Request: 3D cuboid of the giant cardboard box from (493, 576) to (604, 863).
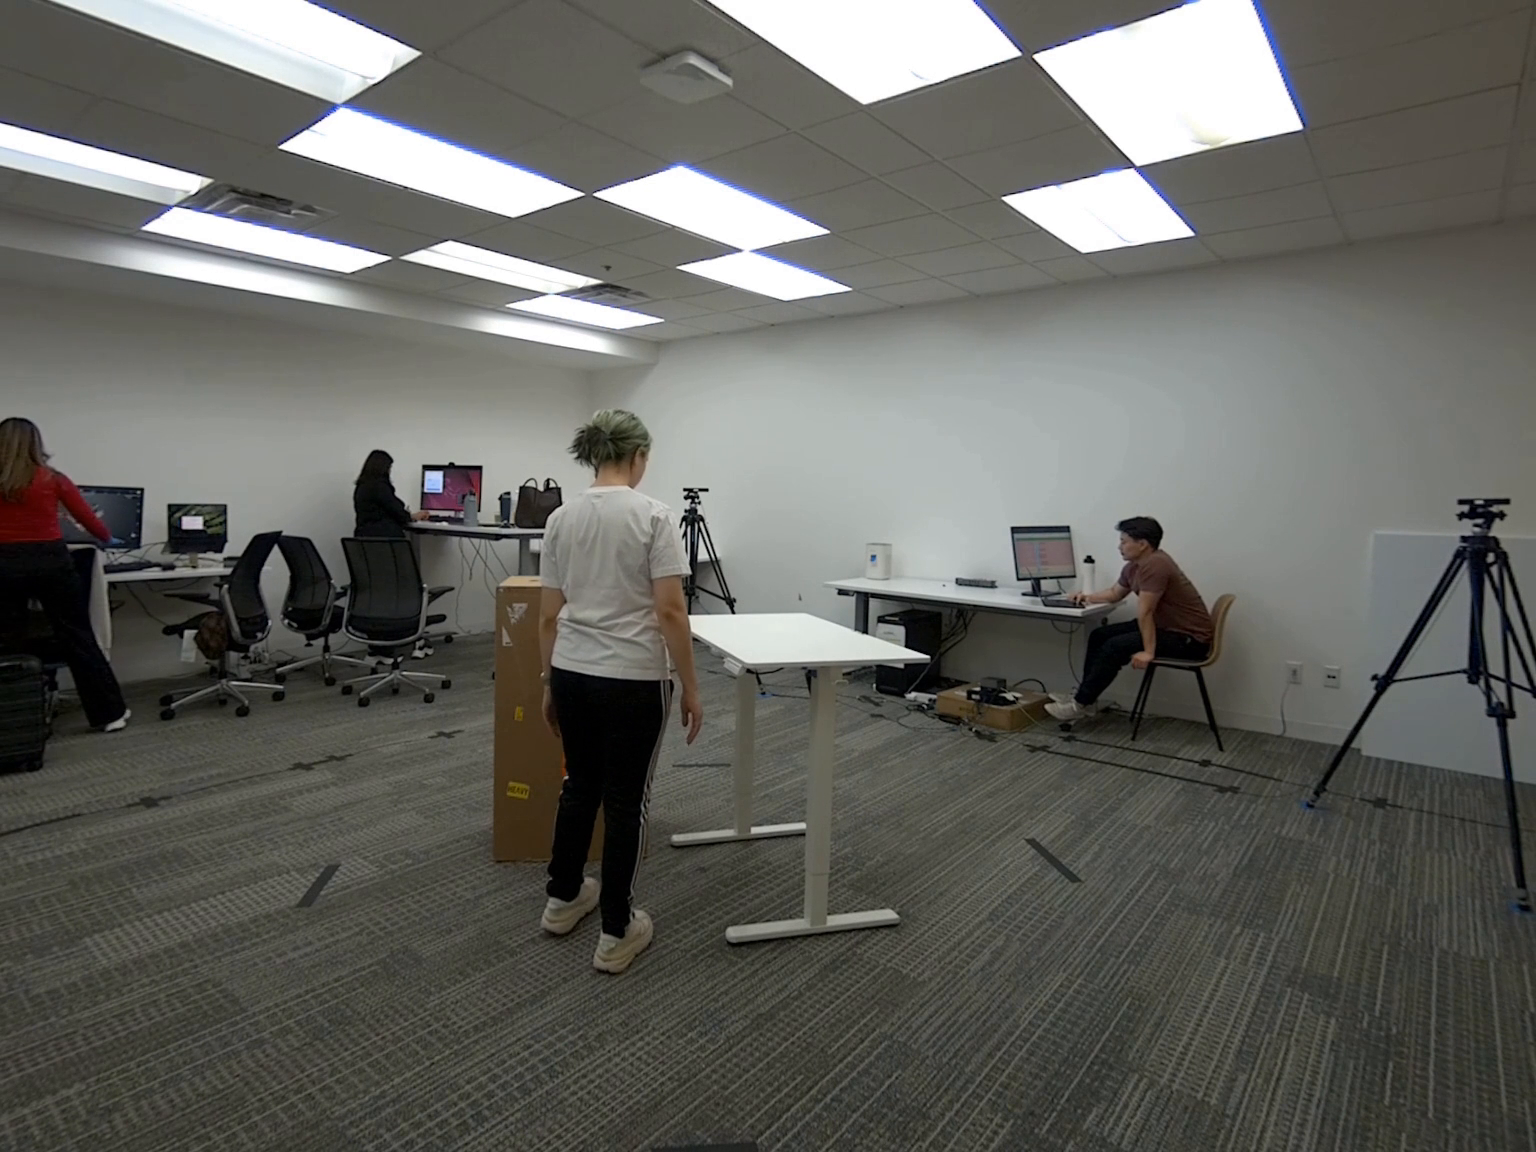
[{"bbox_3d":[-0.772,0.531,3.353,0.579,1.025,0.451,1,2,-8],"label":"giant cardboard box"}]
